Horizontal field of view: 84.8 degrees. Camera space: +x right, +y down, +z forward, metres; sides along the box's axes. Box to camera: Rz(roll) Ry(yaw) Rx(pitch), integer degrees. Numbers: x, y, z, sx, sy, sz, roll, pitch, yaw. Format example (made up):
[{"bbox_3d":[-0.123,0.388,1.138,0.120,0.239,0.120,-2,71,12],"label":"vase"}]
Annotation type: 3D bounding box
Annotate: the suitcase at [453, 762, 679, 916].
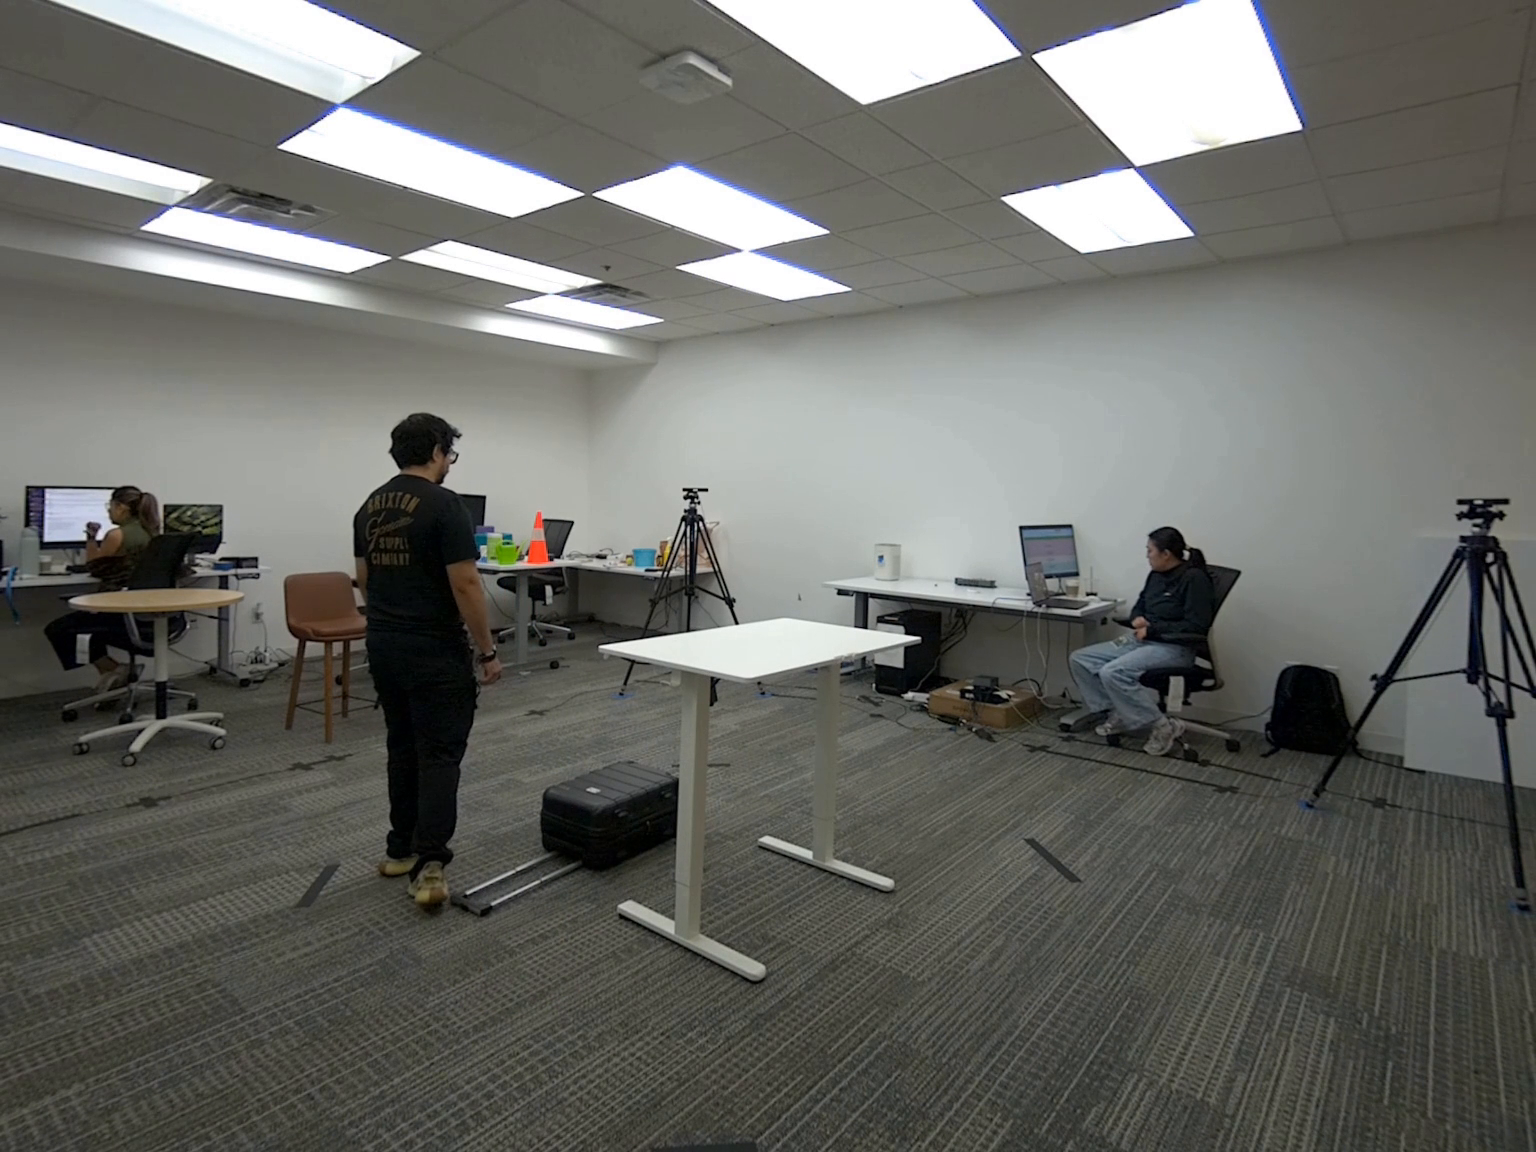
[{"bbox_3d":[-0.727,0.926,3.168,0.397,0.256,0.949,6,5,35],"label":"suitcase"}]
